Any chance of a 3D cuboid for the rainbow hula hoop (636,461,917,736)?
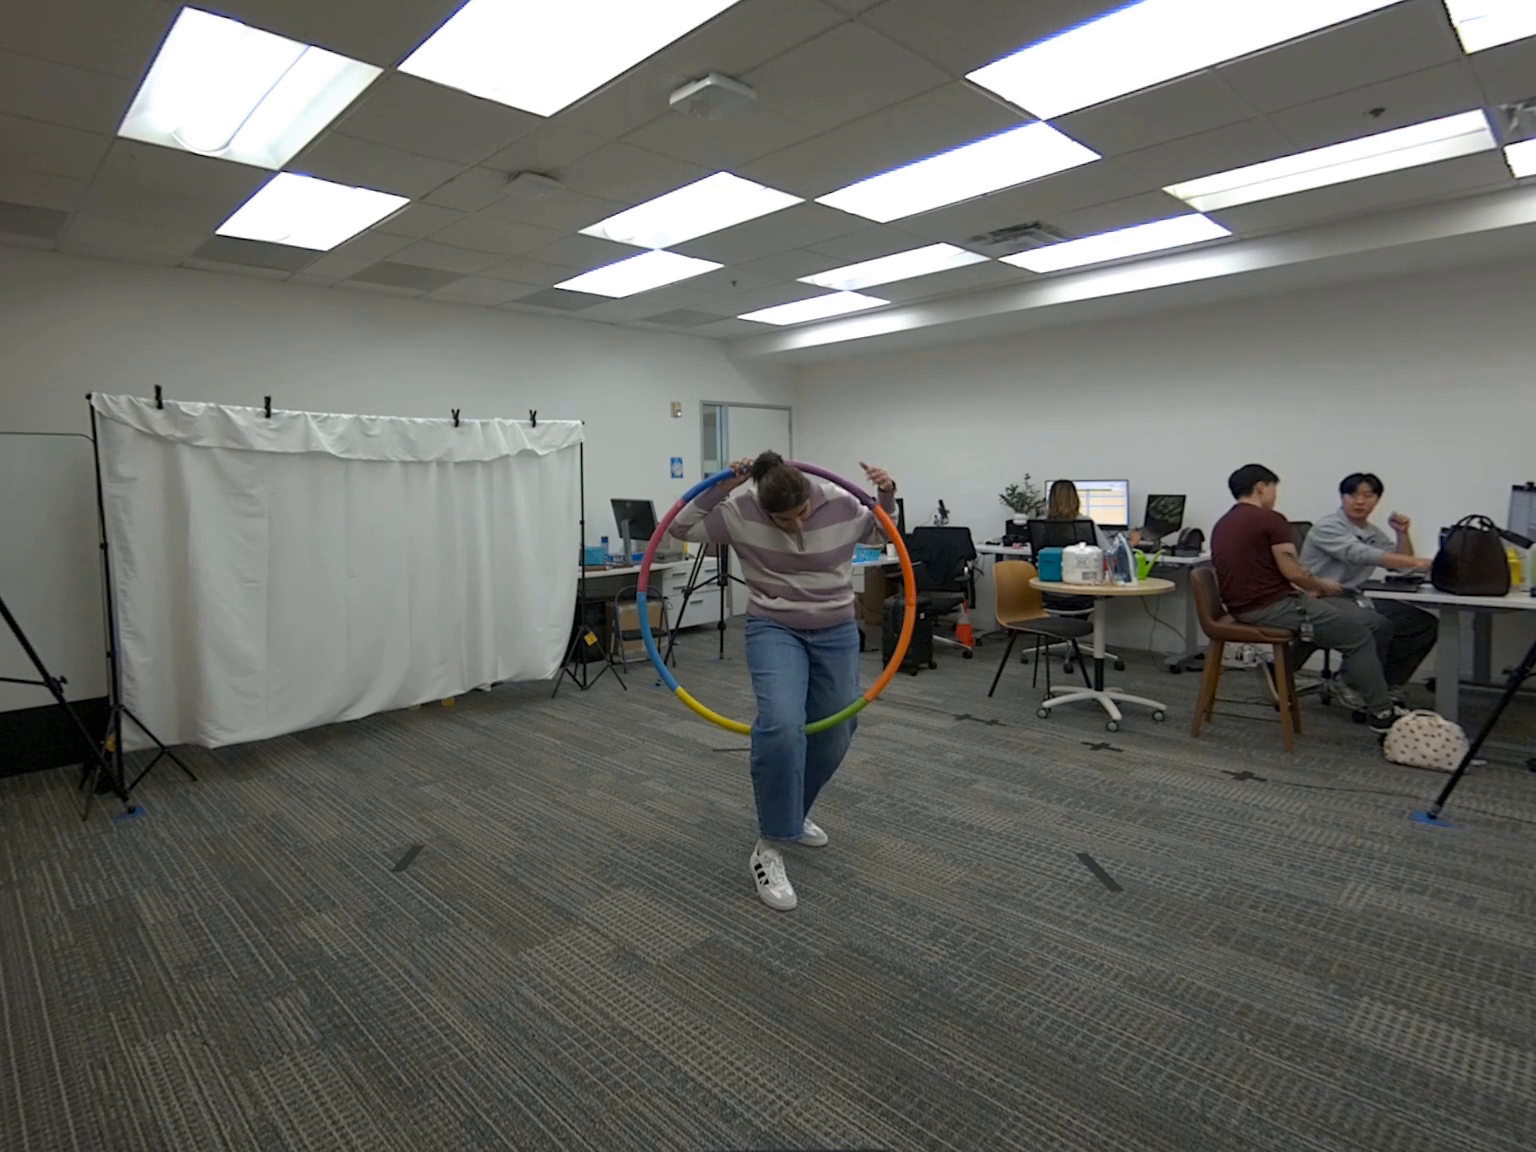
[{"bbox_3d":[0.025,0.070,3.032,0.990,0.985,0.051,-1,0,5],"label":"rainbow hula hoop"}]
